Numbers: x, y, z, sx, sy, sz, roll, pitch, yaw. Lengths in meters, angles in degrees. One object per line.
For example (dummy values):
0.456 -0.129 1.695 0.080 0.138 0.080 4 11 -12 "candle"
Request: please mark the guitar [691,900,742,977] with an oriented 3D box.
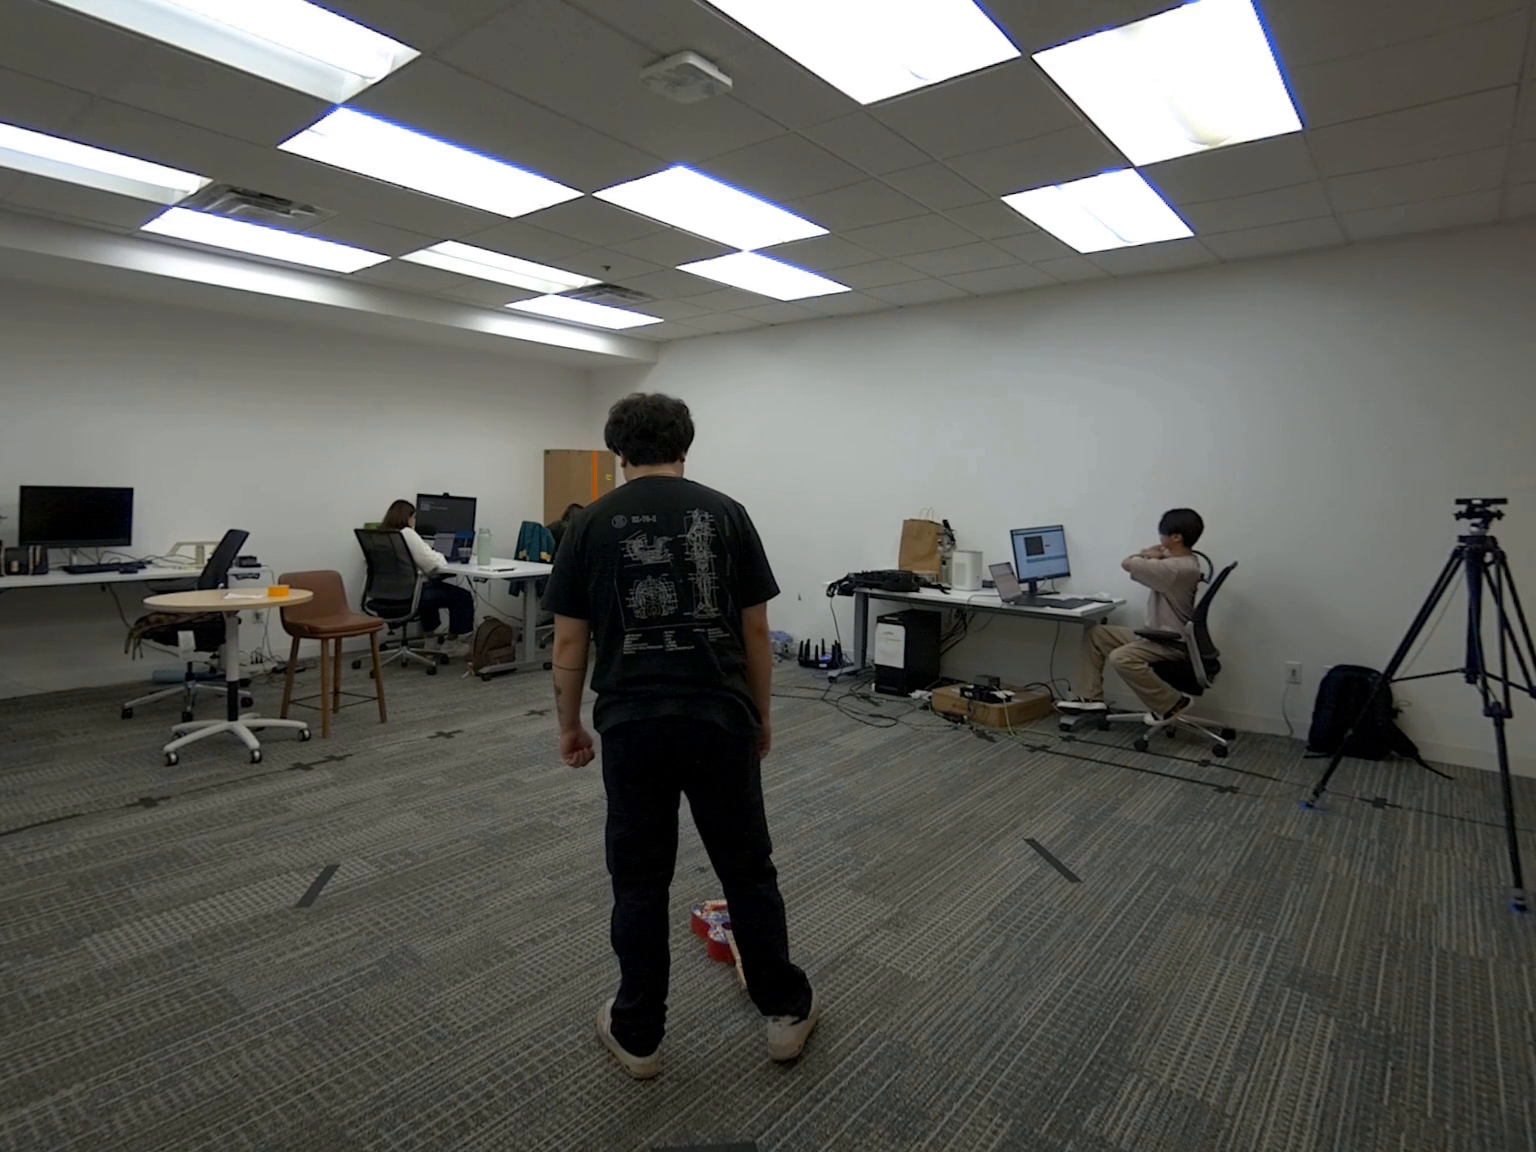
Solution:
-0.130 1.092 2.511 0.192 0.070 0.502 1 5 -7 "guitar"
